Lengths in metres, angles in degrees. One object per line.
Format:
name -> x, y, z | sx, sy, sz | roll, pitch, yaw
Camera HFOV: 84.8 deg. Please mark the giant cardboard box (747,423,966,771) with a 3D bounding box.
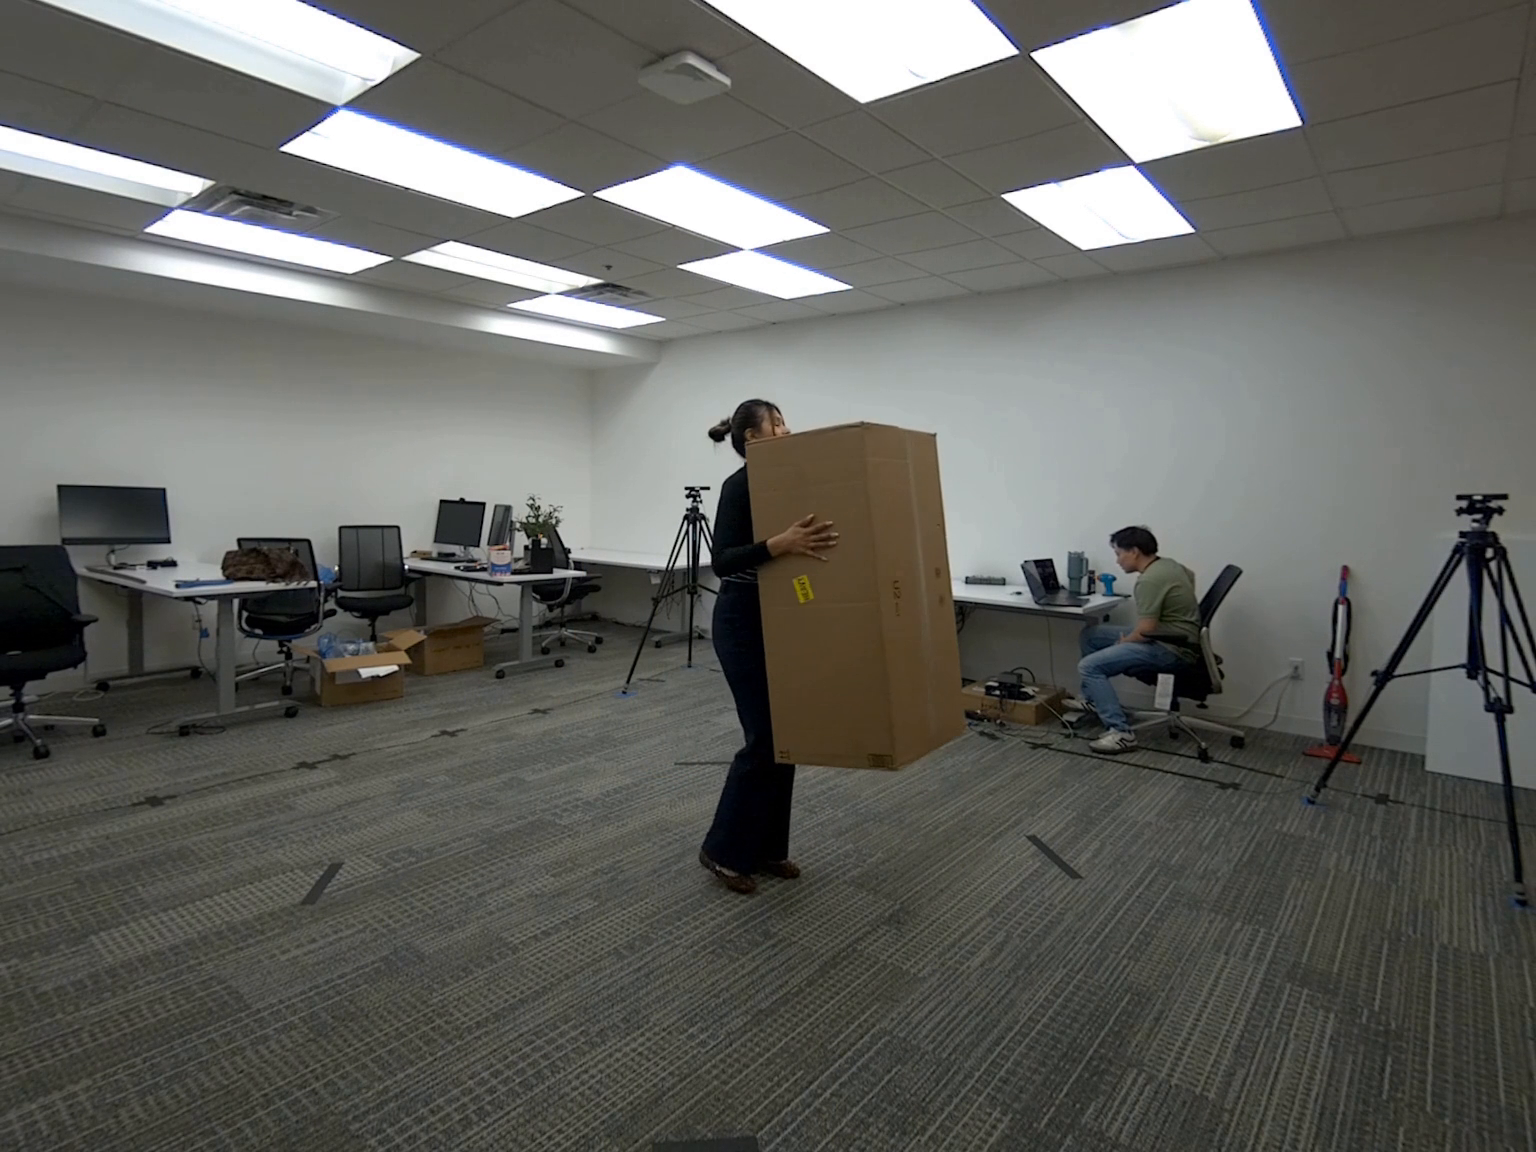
giant cardboard box -> 0.291, 0.052, 2.813 | 0.438, 1.027, 0.561 | -6, -1, 35
